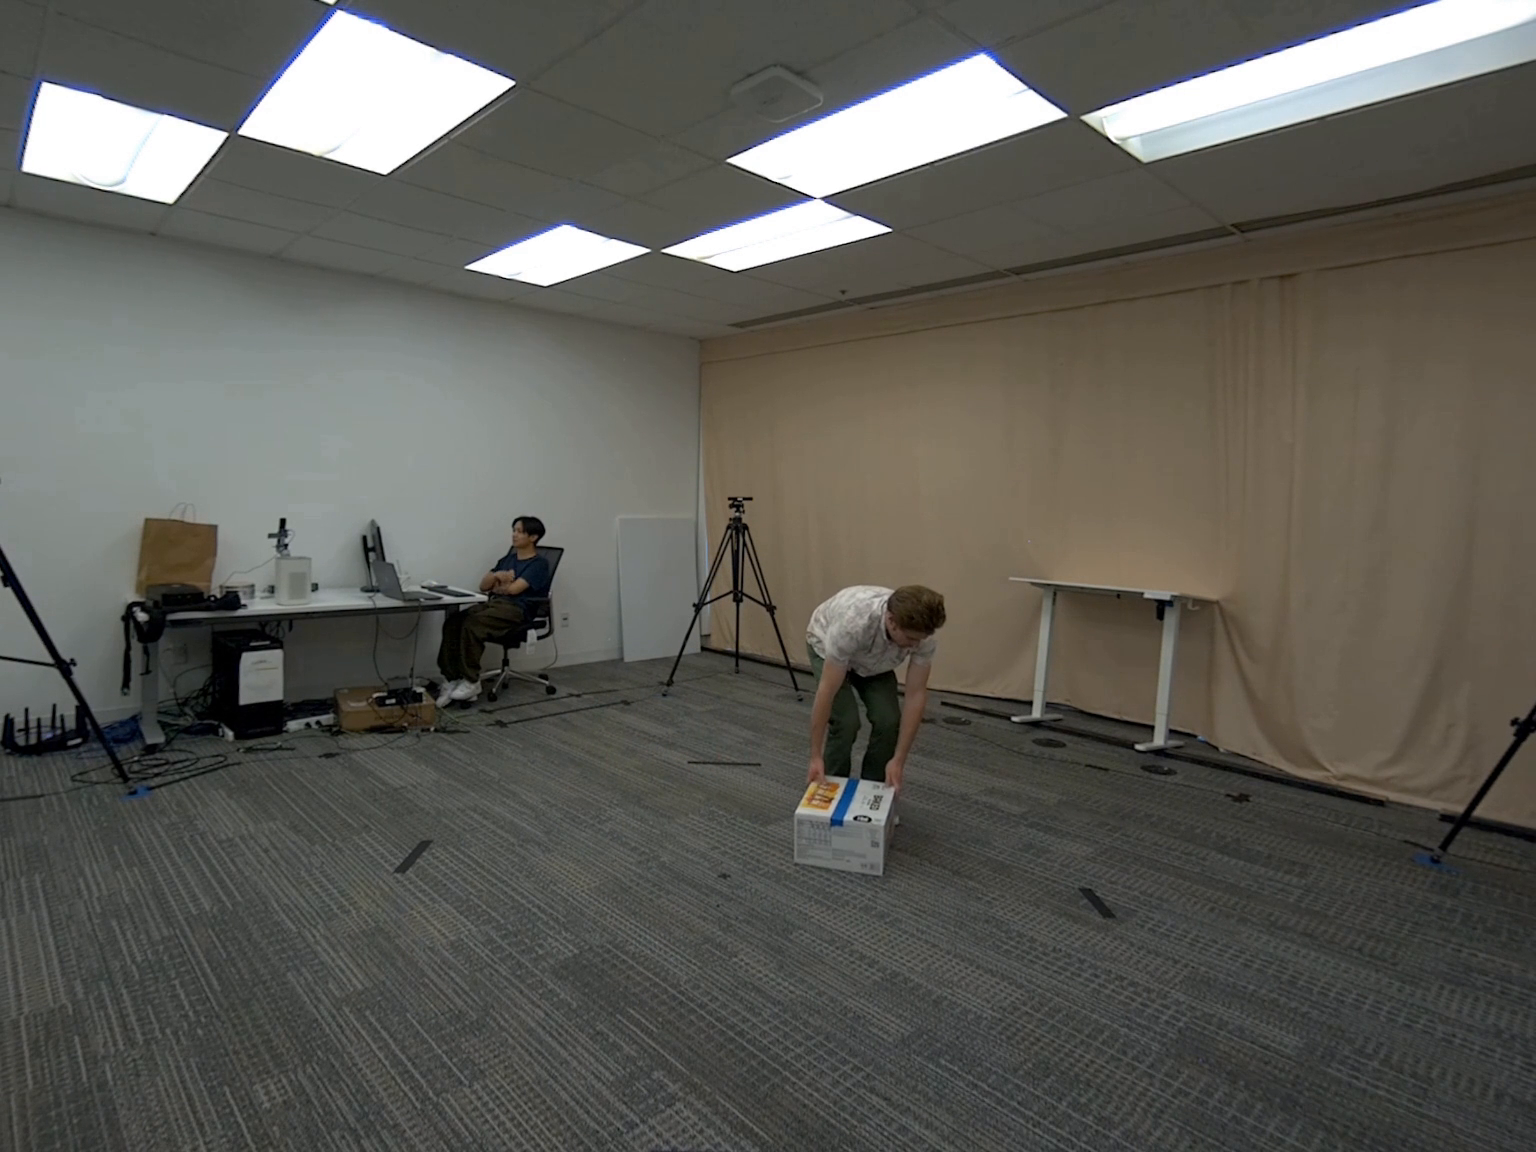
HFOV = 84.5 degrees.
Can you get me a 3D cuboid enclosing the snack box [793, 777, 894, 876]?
[{"bbox_3d":[0.307,0.981,3.349,0.345,0.204,0.402,2,8,15],"label":"snack box"}]
